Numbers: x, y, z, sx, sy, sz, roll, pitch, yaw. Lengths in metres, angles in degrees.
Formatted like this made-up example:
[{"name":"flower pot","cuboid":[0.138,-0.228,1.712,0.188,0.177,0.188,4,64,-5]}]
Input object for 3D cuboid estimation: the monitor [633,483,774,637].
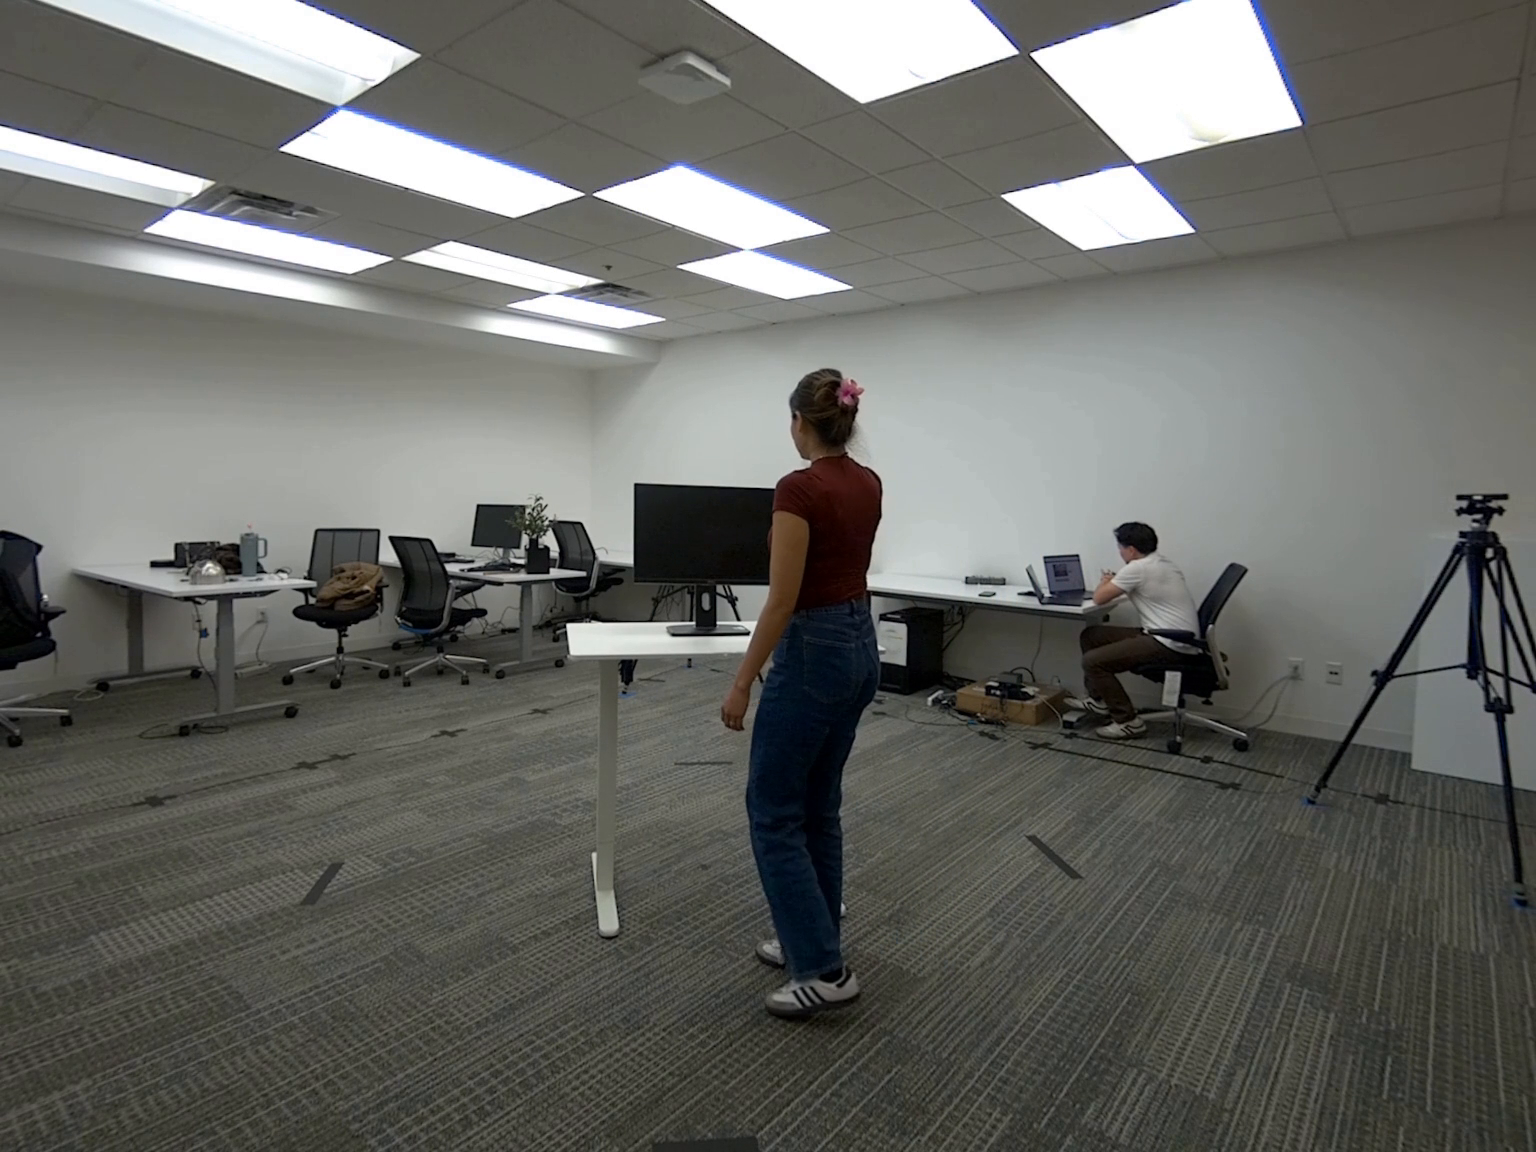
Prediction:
[{"name":"monitor","cuboid":[-0.225,-0.058,2.995,0.532,0.522,0.190,0,0,-13]}]
